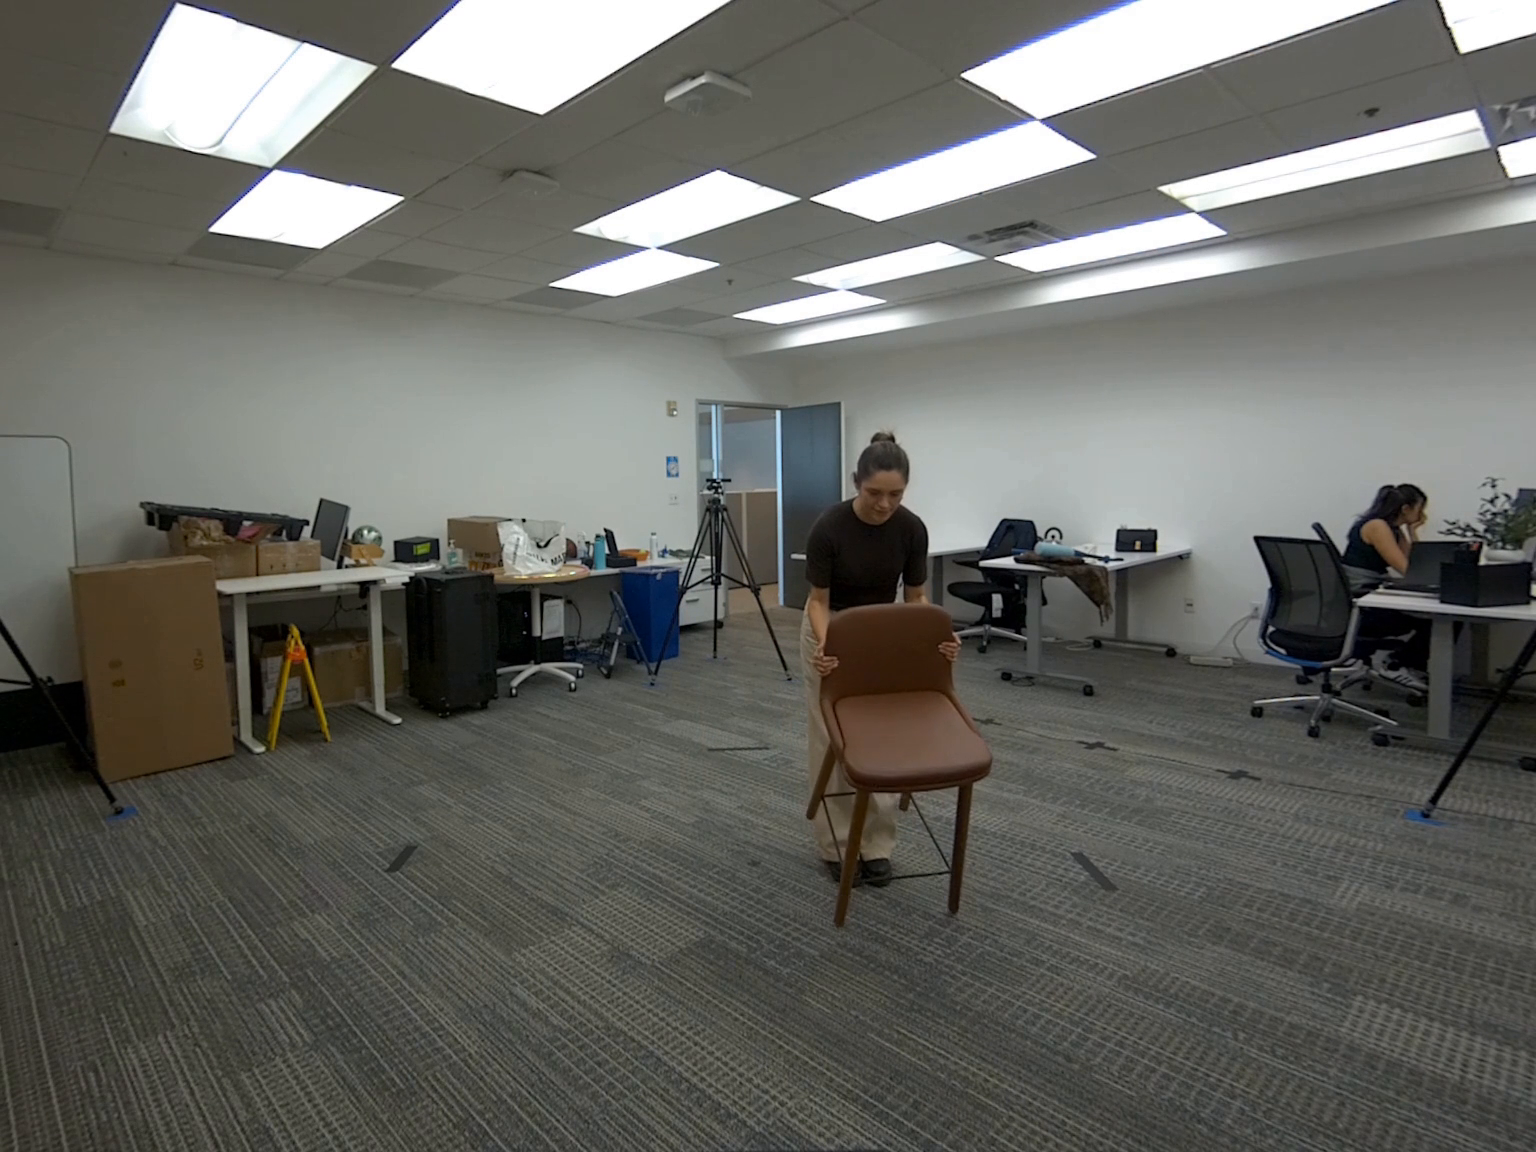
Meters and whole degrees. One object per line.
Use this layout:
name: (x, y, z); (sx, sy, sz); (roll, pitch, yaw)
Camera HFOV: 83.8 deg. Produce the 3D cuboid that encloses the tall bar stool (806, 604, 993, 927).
tall bar stool: (0.402, 0.586, 2.673); (0.451, 0.872, 0.482); (-2, 28, -12)
